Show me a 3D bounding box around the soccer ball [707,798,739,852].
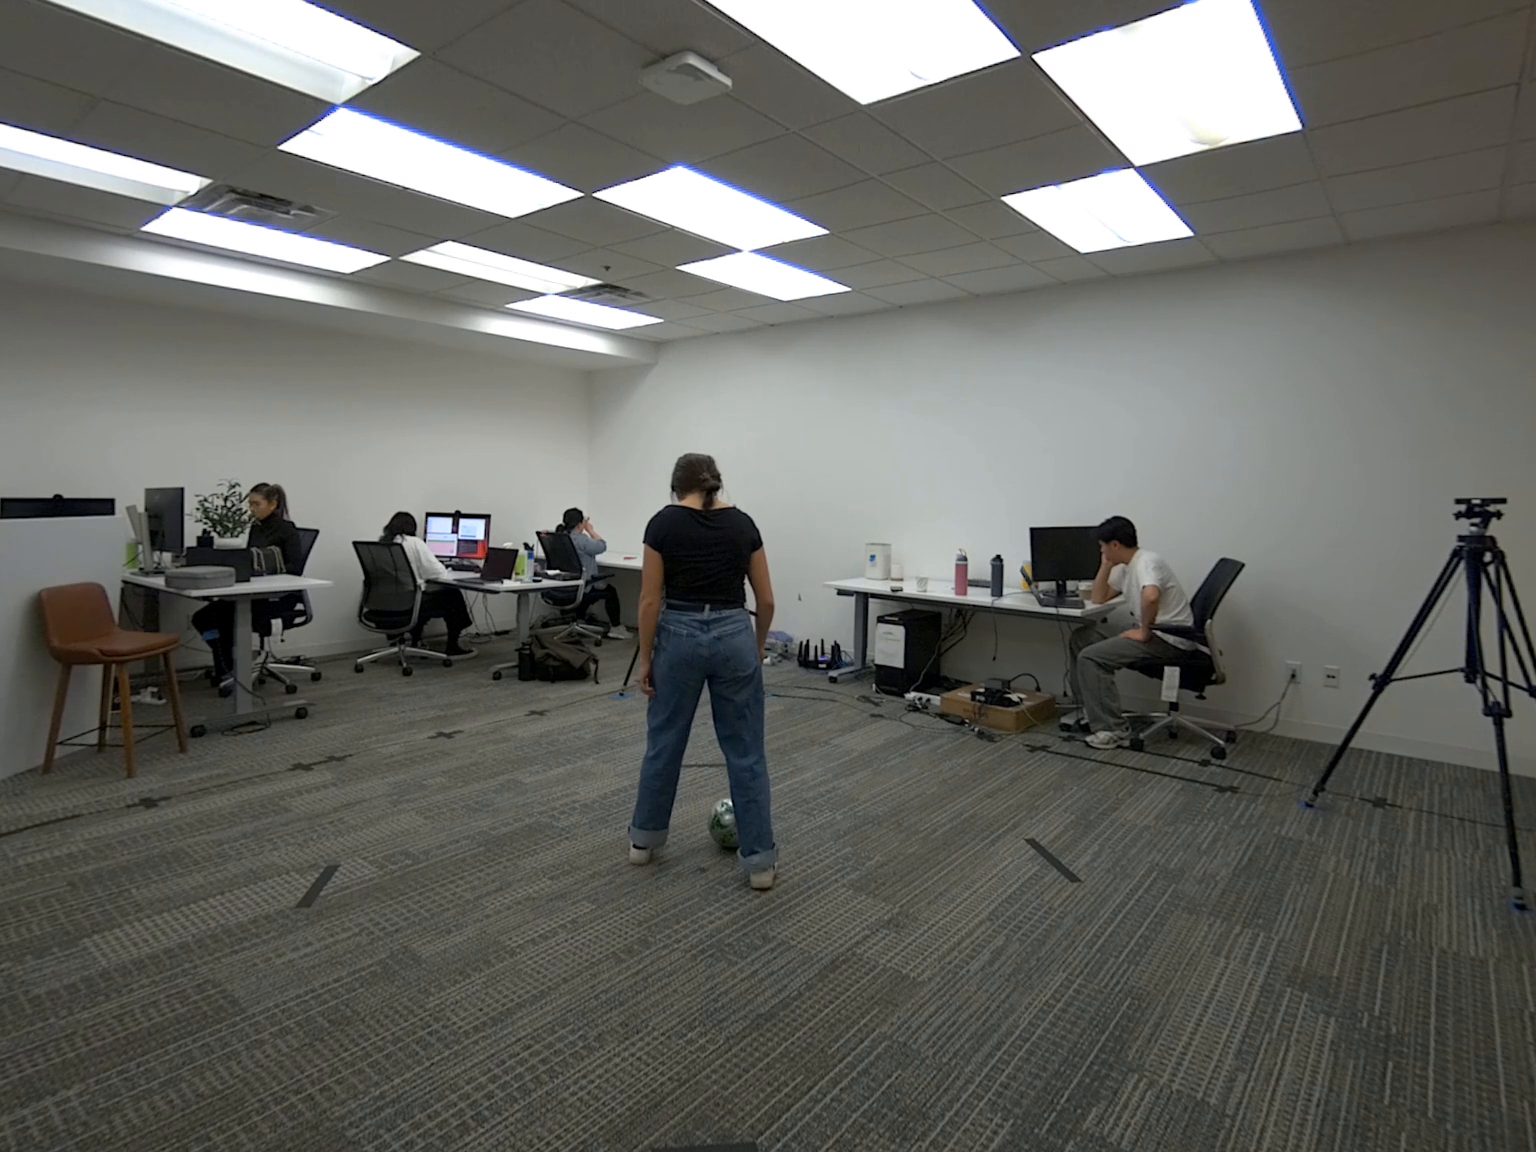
[{"bbox_3d":[-0.135,0.943,3.304,0.187,0.187,0.188,1,4,-2],"label":"soccer ball"}]
